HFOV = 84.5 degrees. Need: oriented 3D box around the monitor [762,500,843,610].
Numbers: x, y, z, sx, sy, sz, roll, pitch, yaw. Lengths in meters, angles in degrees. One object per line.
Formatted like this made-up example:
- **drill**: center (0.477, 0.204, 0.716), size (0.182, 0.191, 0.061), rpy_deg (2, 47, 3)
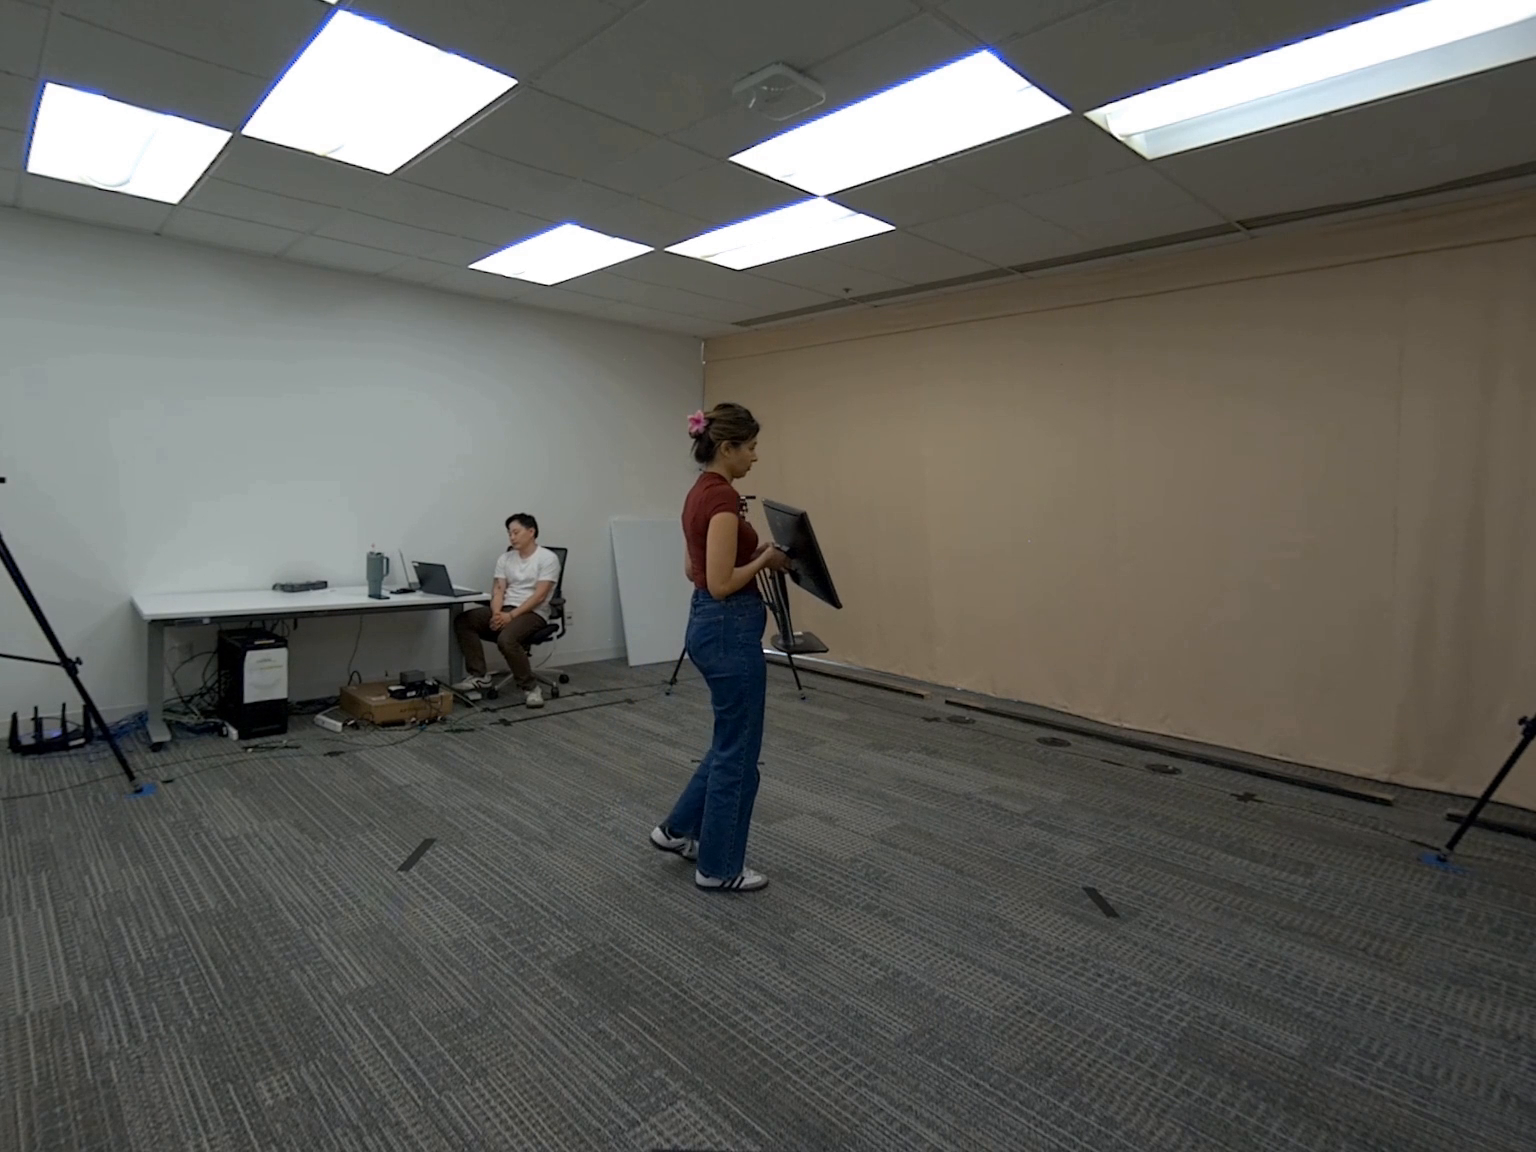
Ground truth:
- **monitor**: center (0.077, 0.001, 3.026), size (0.185, 0.518, 0.548), rpy_deg (-9, 11, -15)
